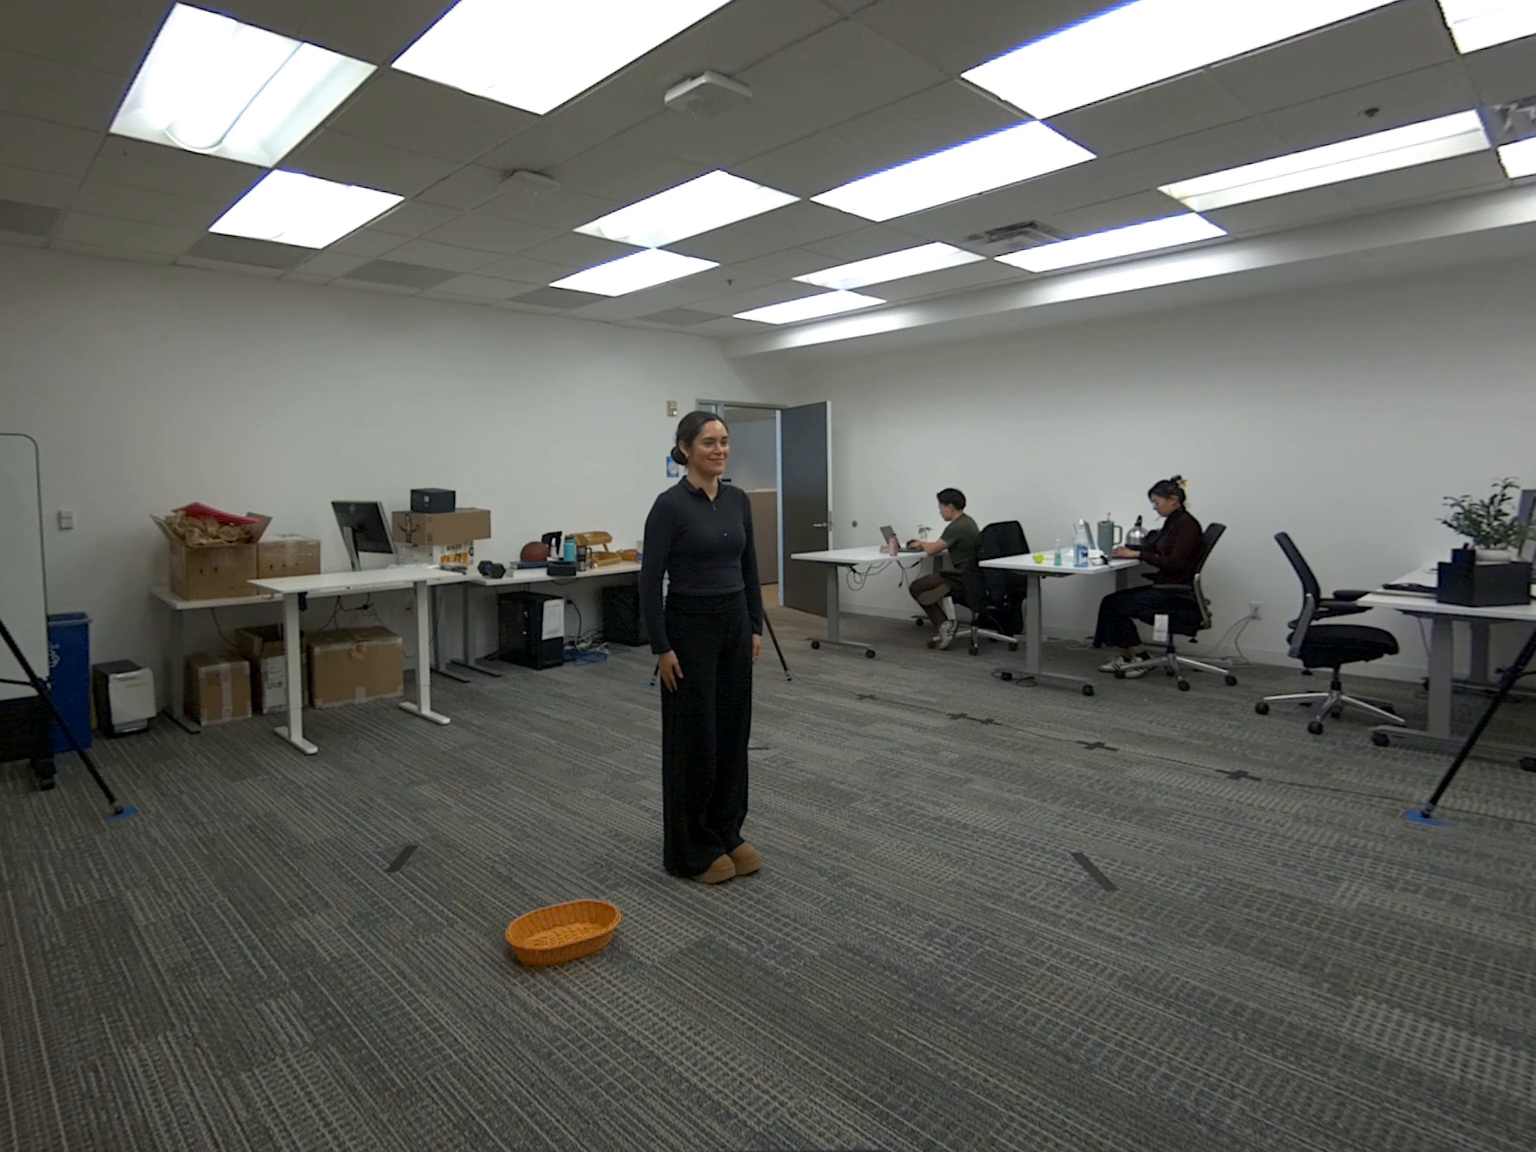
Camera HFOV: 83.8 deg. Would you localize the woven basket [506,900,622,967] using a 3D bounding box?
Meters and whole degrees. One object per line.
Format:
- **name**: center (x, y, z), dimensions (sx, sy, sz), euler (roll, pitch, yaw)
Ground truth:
- **woven basket**: center (-0.608, 1.075, 2.577), dimensions (0.344, 0.073, 0.258), euler (-4, 6, -22)
